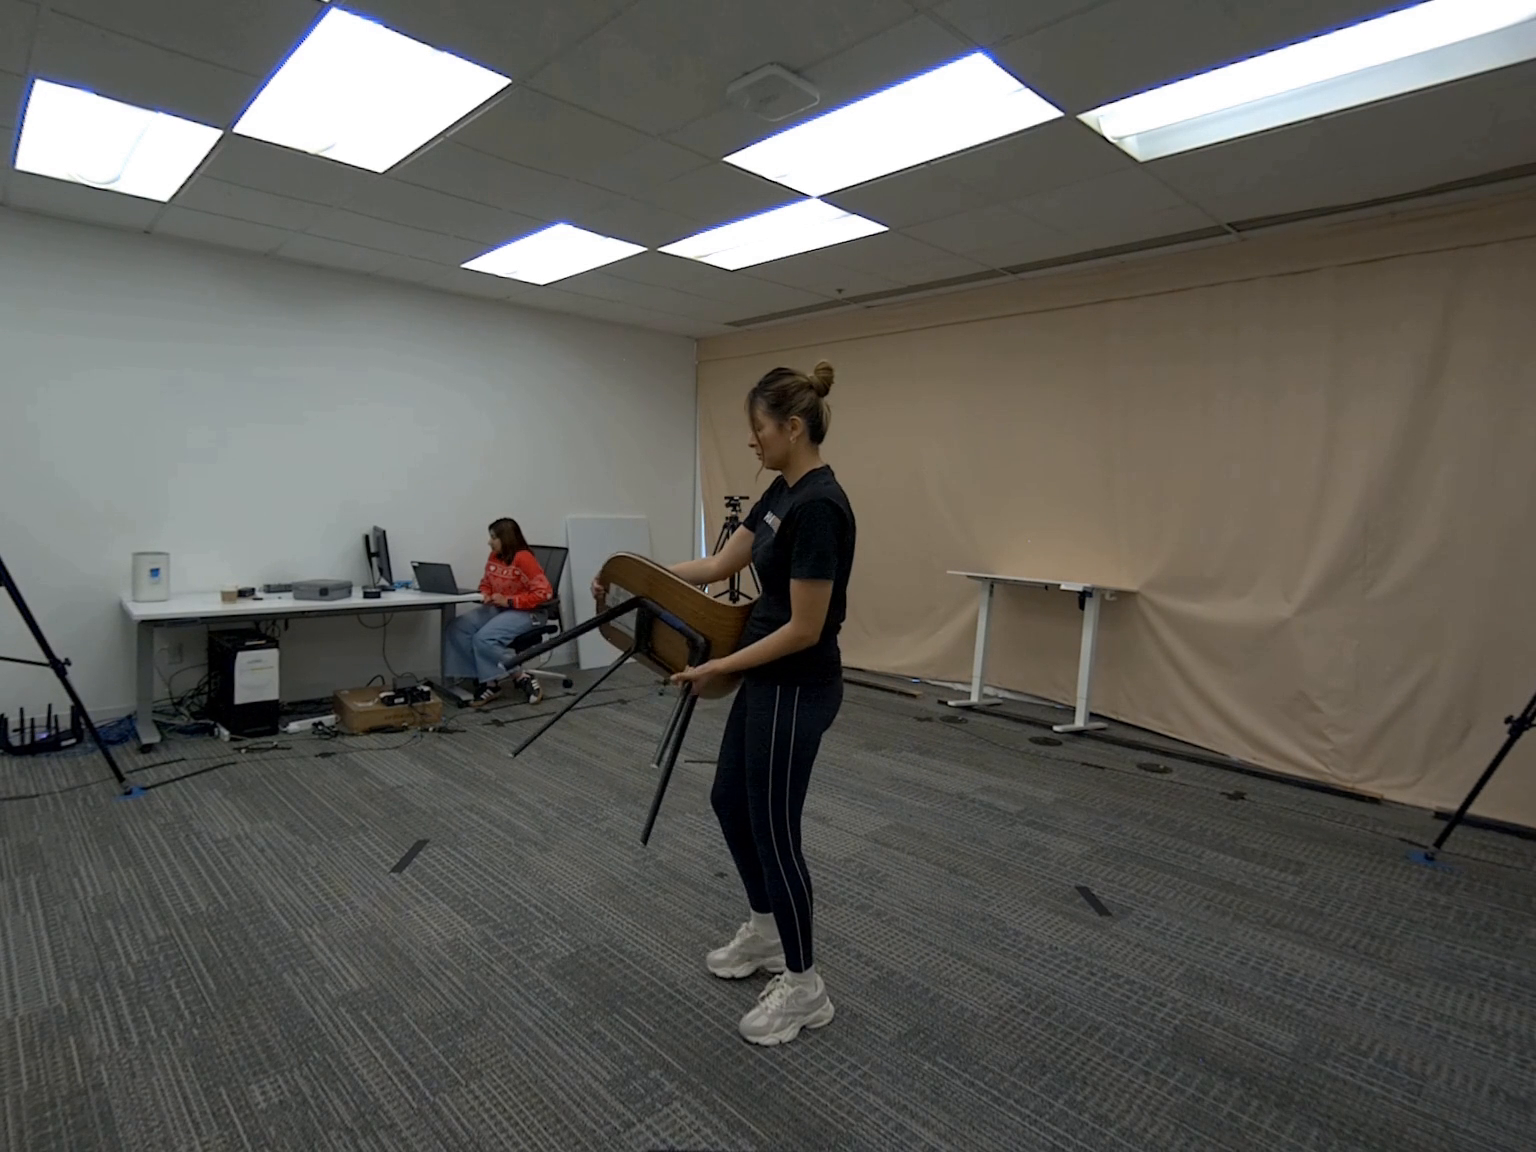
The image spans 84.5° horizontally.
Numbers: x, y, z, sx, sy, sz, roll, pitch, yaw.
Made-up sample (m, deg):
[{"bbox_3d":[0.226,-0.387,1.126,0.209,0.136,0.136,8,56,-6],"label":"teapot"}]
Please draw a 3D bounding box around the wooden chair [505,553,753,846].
[{"bbox_3d":[-0.284,0.204,2.359,0.532,0.470,0.876,32,51,16],"label":"wooden chair"}]
